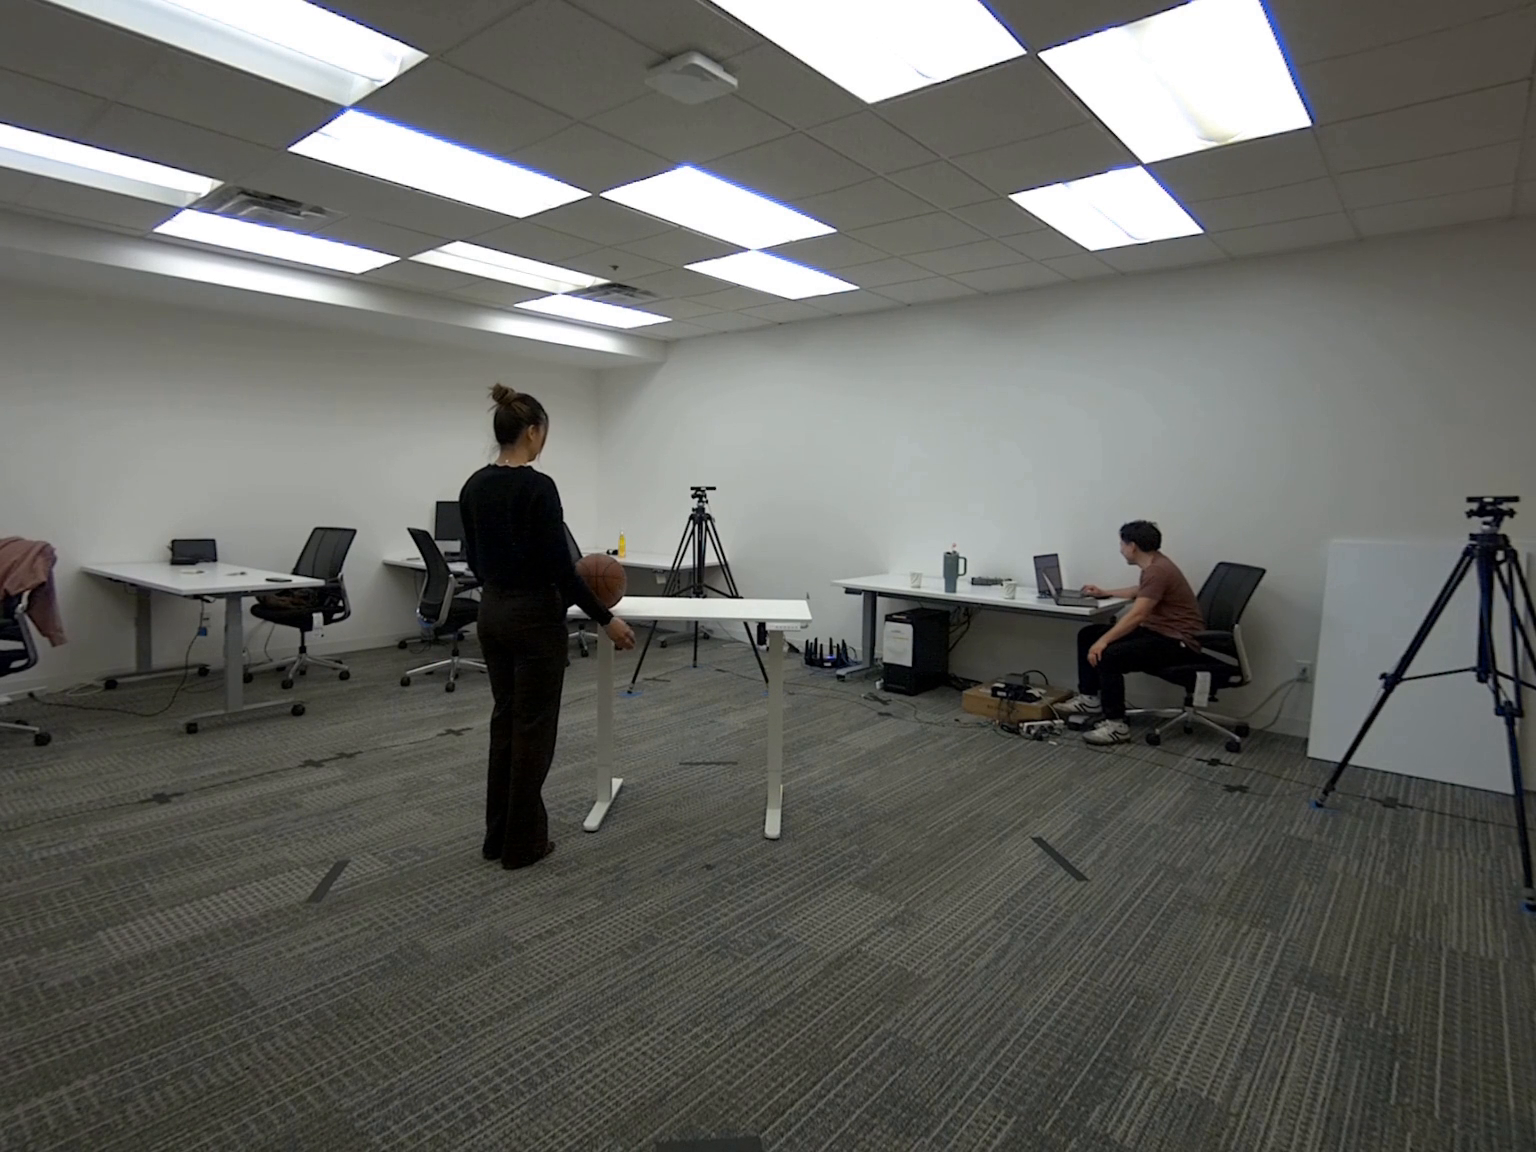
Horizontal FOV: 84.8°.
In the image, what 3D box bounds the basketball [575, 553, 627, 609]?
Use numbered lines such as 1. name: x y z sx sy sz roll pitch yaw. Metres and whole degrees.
1. basketball: -0.708 0.025 3.456 0.235 0.235 0.237 1 4 -2
